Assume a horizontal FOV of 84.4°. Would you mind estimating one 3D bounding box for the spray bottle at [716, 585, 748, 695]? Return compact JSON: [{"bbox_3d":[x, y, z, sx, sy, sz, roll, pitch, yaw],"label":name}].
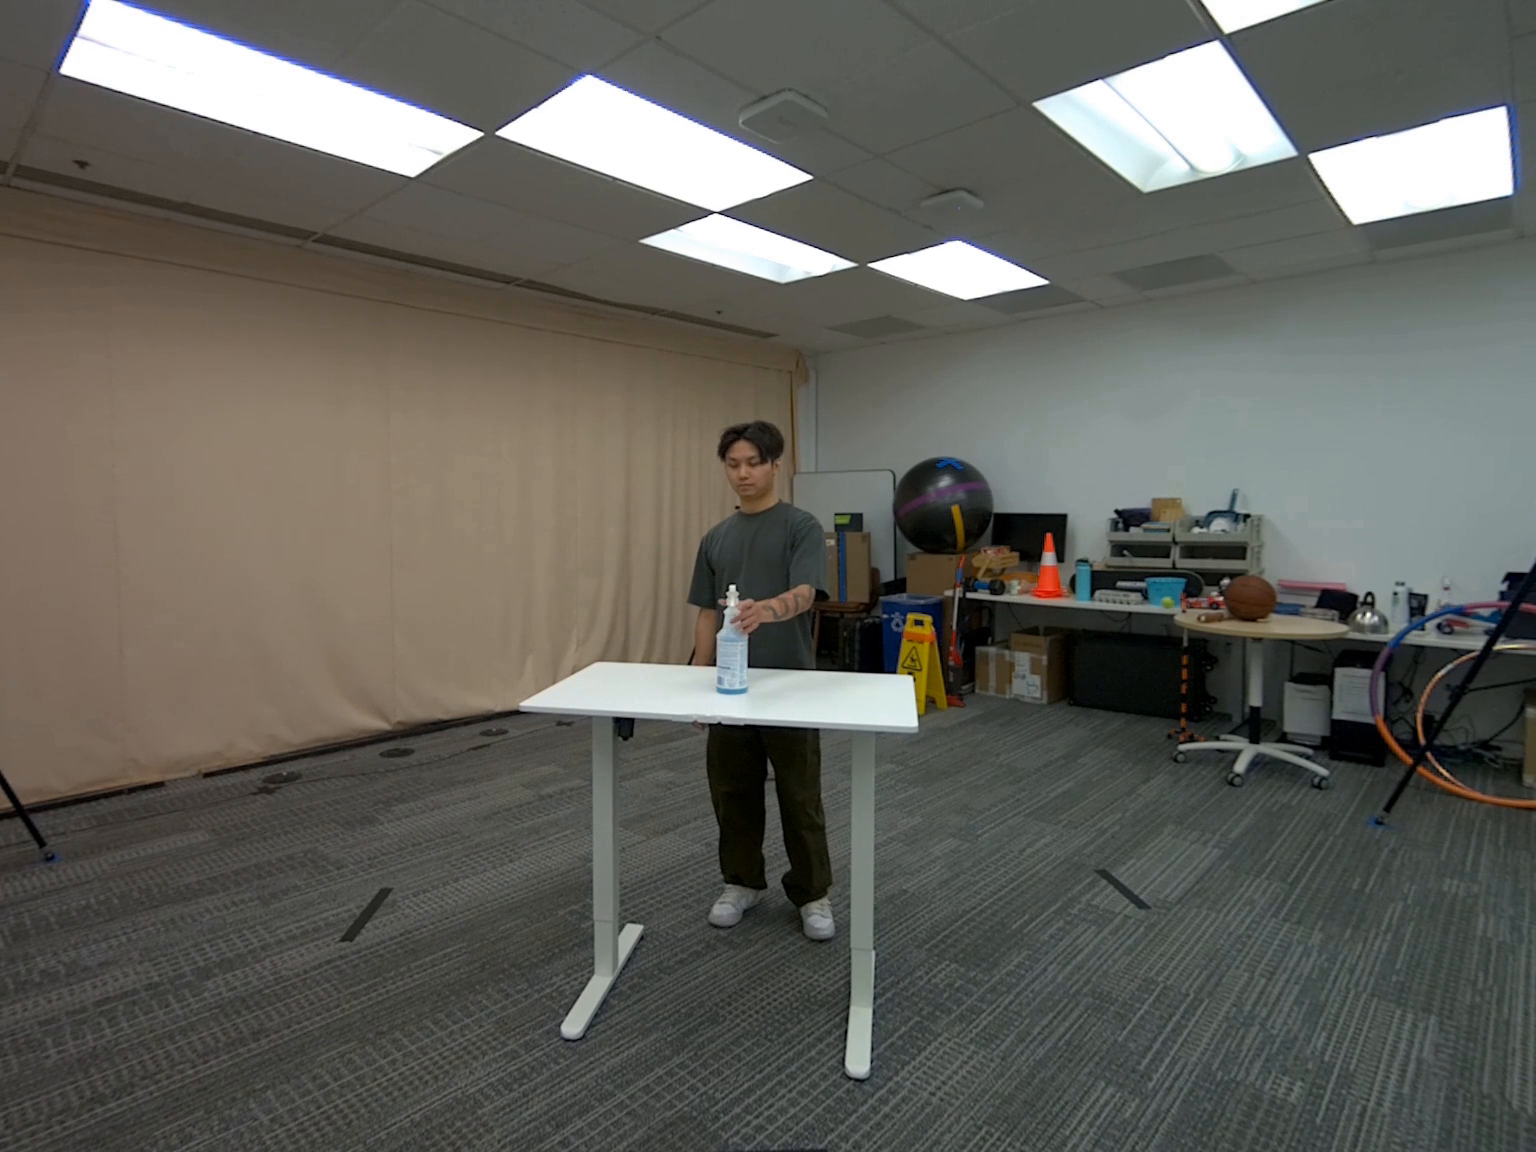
[{"bbox_3d":[-0.098,0.172,2.315,0.089,0.296,0.088,-1,4,23],"label":"spray bottle"}]
